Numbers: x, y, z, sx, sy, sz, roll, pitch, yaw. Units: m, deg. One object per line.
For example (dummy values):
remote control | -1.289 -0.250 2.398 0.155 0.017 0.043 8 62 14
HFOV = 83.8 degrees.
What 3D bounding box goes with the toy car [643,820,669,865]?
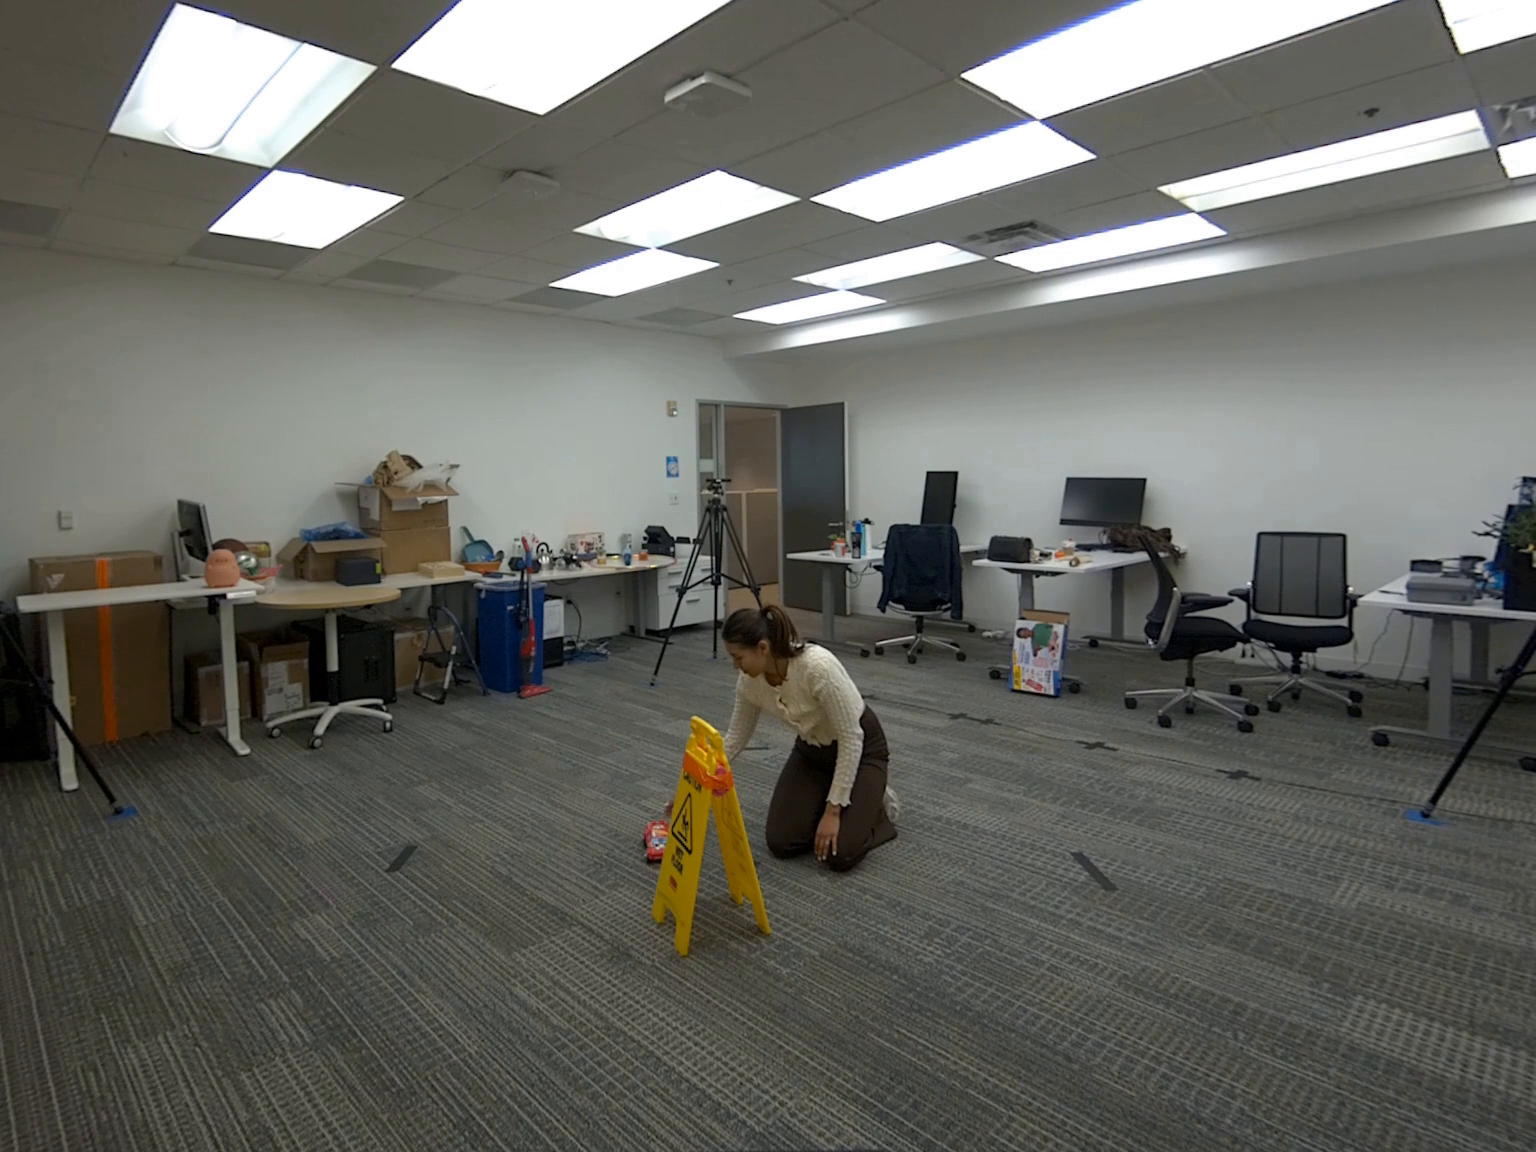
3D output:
toy car | -0.407 1.002 3.232 0.129 0.082 0.260 -2 16 -10
